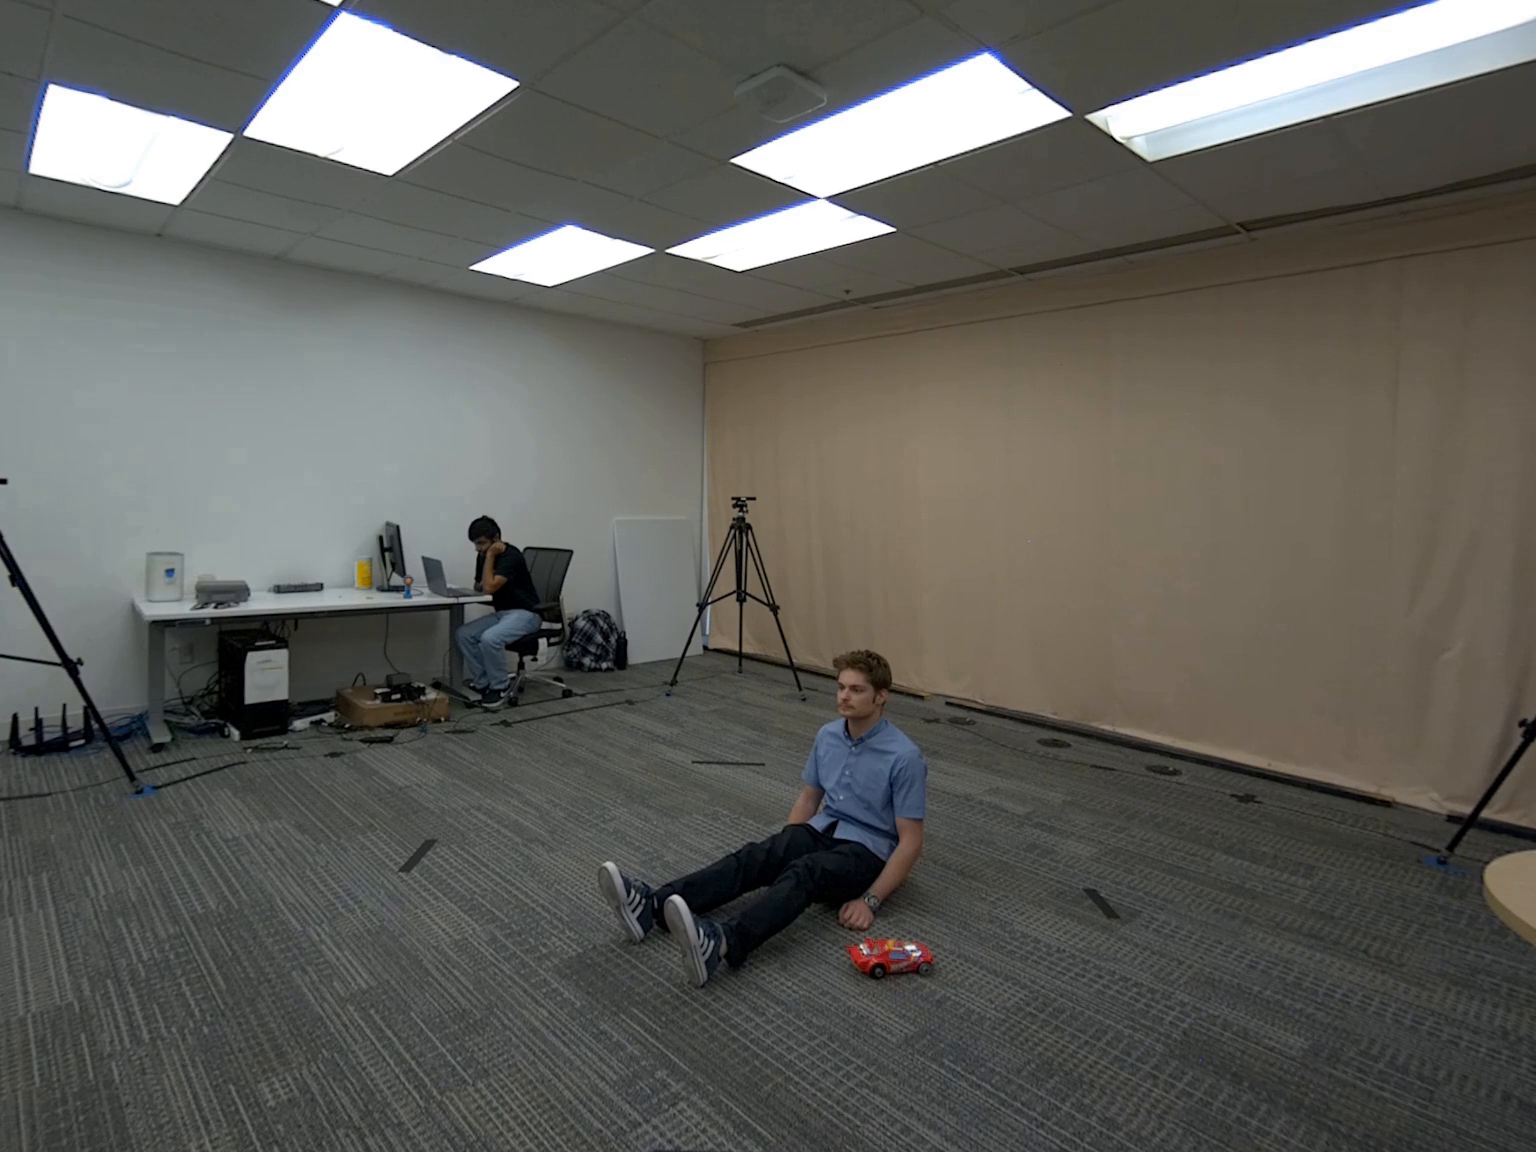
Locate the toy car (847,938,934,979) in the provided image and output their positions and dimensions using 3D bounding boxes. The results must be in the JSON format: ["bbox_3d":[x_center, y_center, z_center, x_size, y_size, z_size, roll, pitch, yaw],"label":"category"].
[{"bbox_3d":[0.365,1.149,2.507,0.251,0.083,0.132,10,4,-13],"label":"toy car"}]
